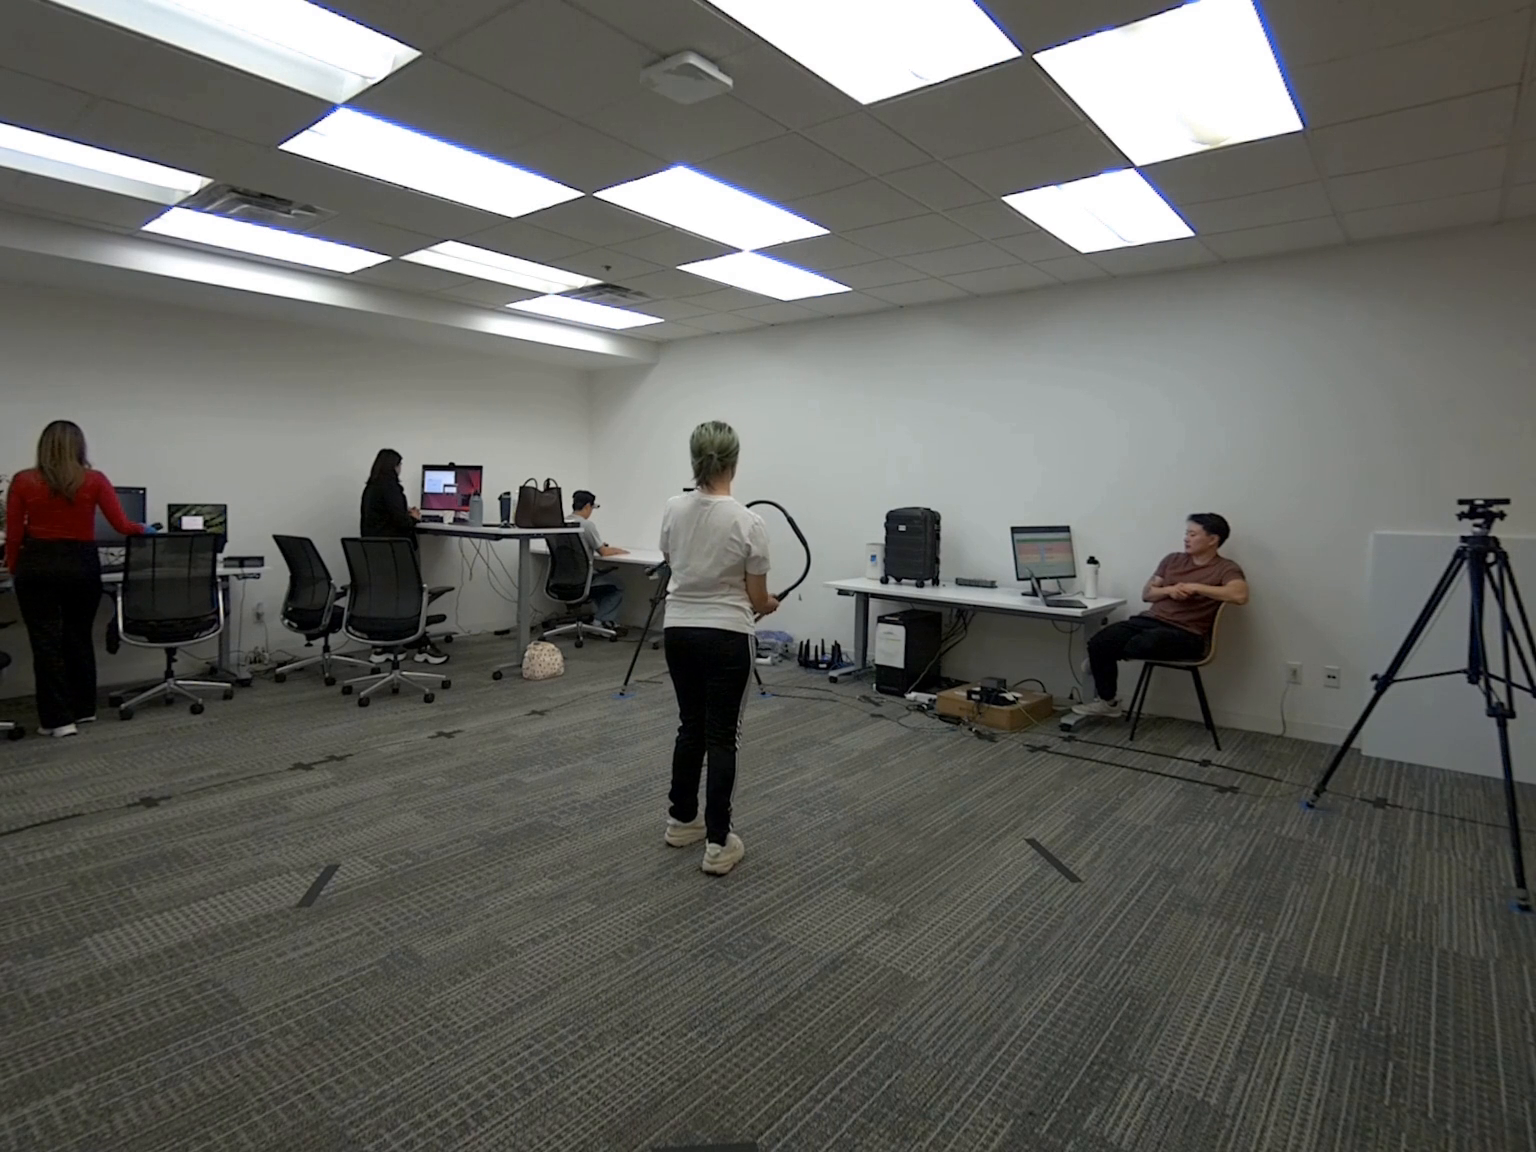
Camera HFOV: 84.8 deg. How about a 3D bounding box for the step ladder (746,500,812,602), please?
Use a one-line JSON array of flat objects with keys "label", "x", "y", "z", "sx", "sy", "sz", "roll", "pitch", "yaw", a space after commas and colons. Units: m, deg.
[{"label": "step ladder", "x": -0.128, "y": -0.030, "z": 3.558, "sx": 0.609, "sy": 0.438, "sz": 0.341, "roll": -38, "pitch": -14, "yaw": 33}]
